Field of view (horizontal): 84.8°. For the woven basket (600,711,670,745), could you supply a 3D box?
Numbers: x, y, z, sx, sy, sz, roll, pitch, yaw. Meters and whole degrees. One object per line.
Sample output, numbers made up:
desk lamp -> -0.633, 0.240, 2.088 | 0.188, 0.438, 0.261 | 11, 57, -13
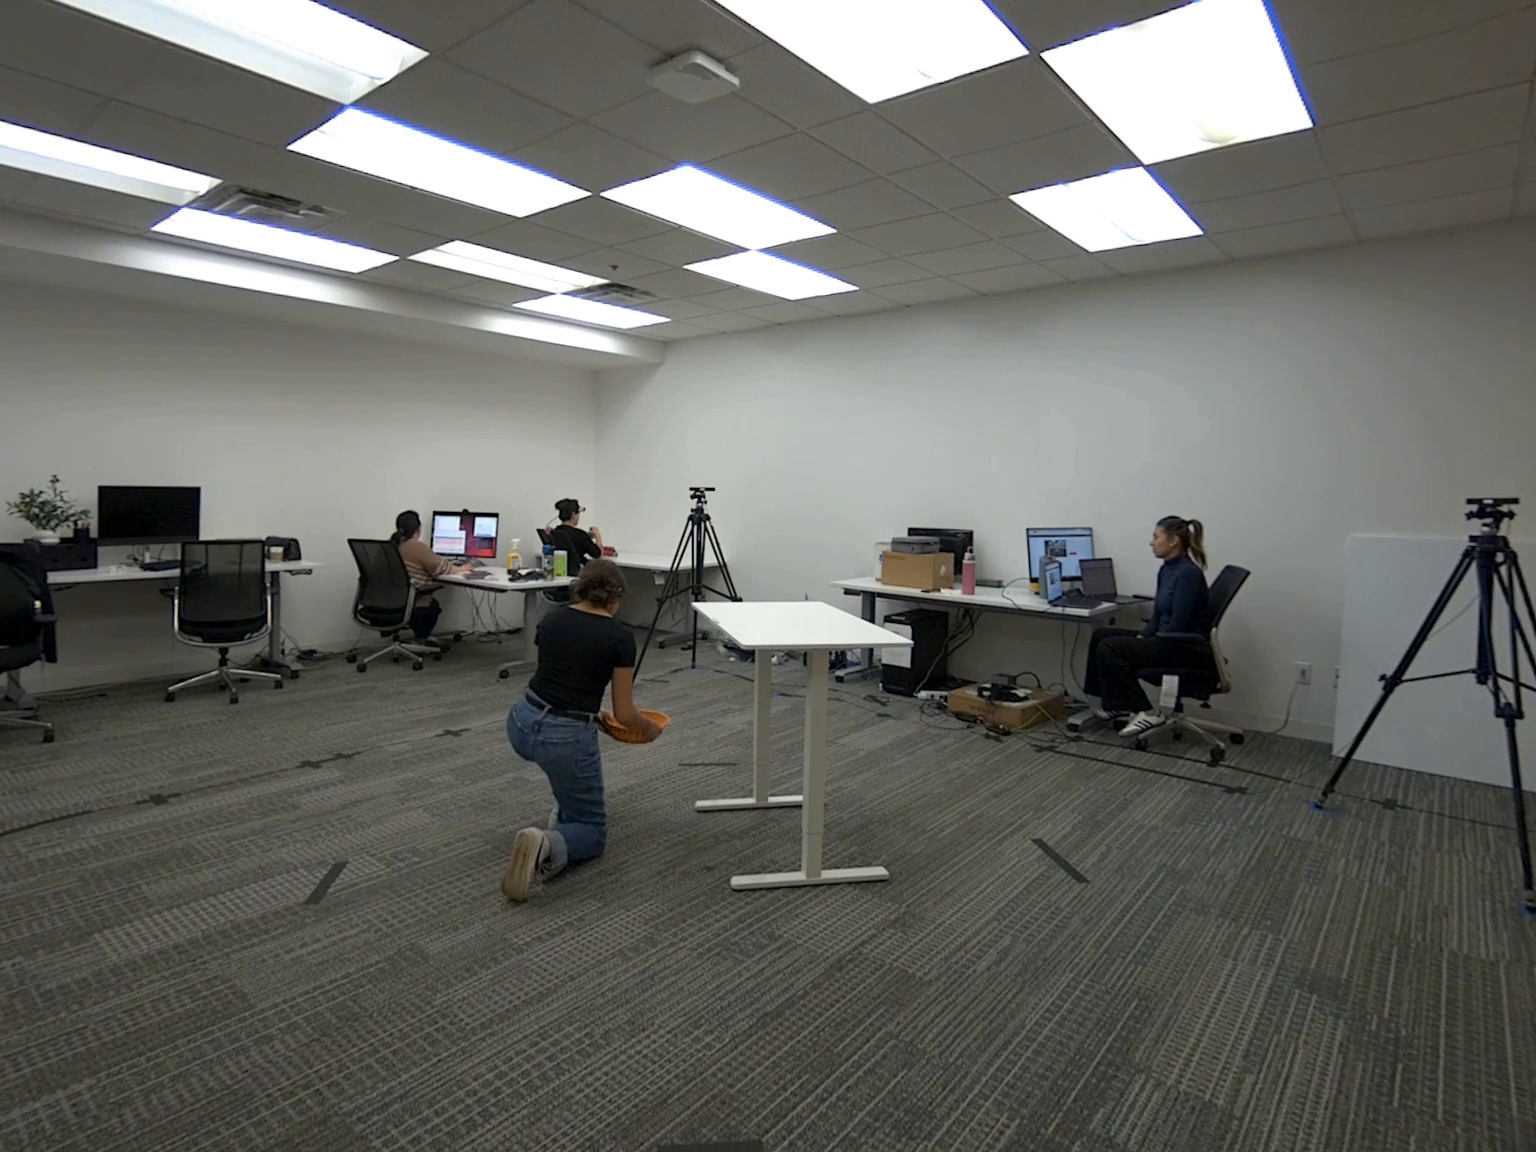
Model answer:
woven basket -> -0.575, 0.642, 3.579 | 0.256, 0.073, 0.346 | 8, 3, 11
